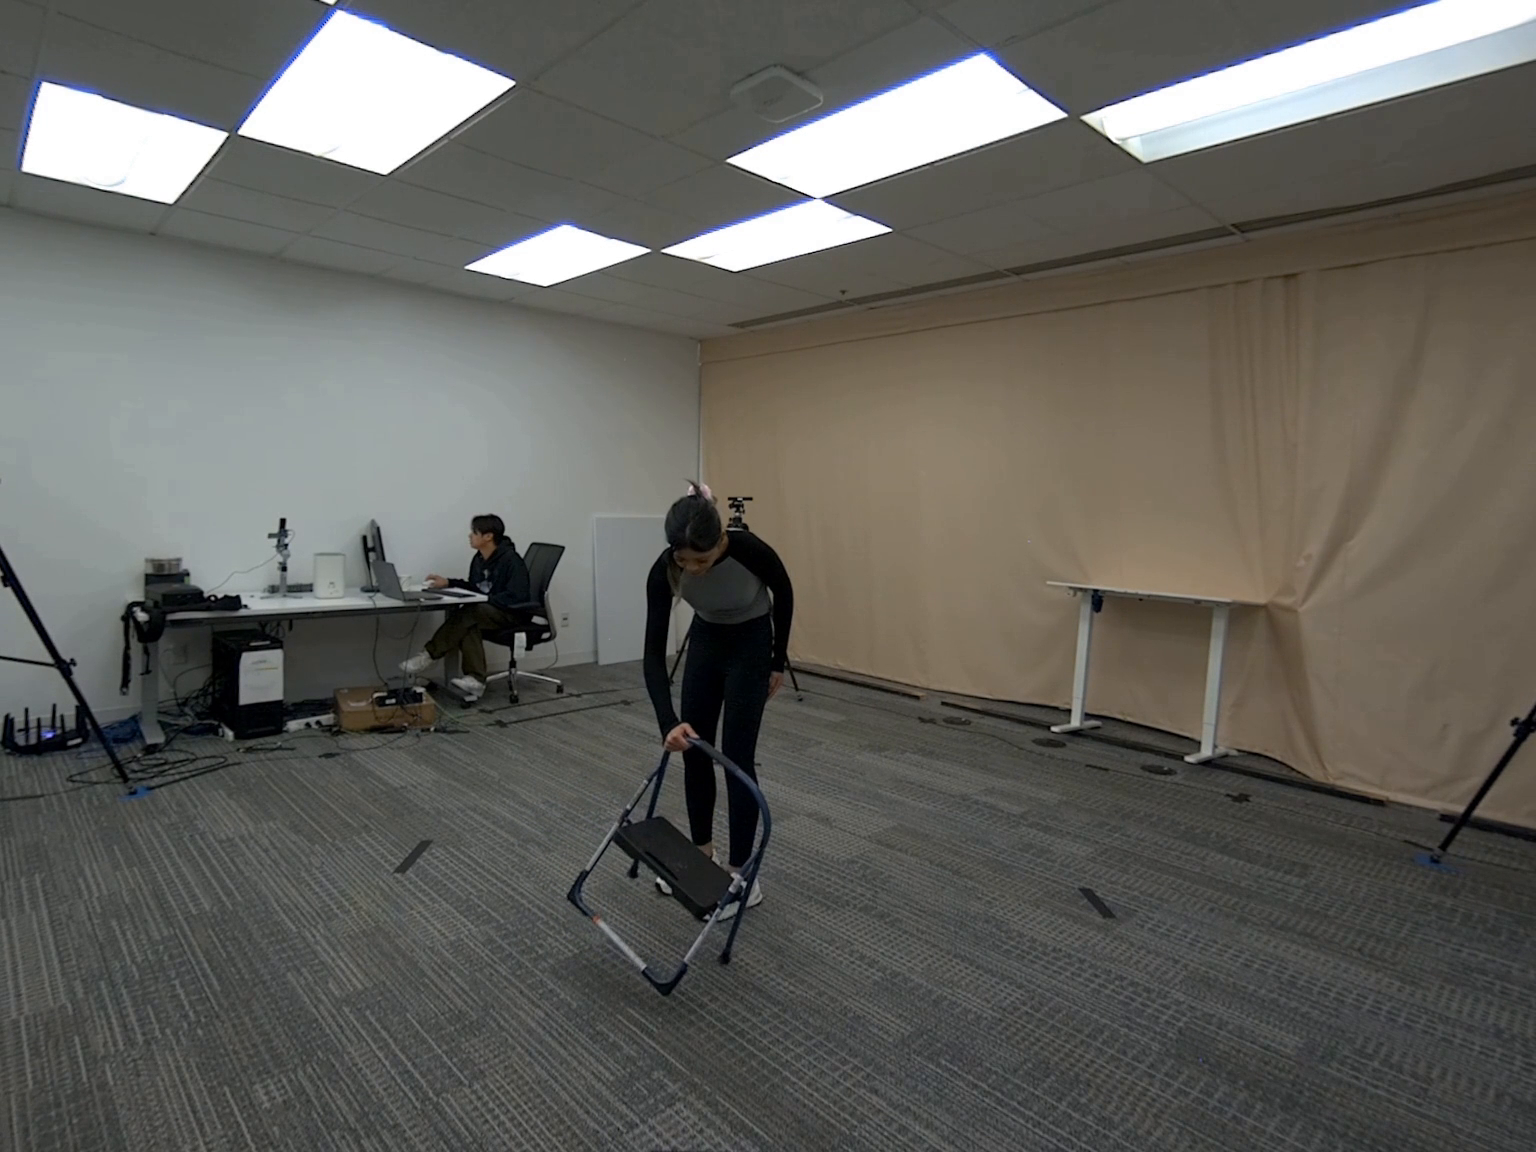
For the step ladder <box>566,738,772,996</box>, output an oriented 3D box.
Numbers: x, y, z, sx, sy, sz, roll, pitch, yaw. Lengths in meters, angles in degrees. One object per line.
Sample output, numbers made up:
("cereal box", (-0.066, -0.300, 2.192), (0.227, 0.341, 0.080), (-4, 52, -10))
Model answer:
("step ladder", (-0.234, 0.786, 2.440), (0.442, 0.604, 0.341), (31, 10, 28))
